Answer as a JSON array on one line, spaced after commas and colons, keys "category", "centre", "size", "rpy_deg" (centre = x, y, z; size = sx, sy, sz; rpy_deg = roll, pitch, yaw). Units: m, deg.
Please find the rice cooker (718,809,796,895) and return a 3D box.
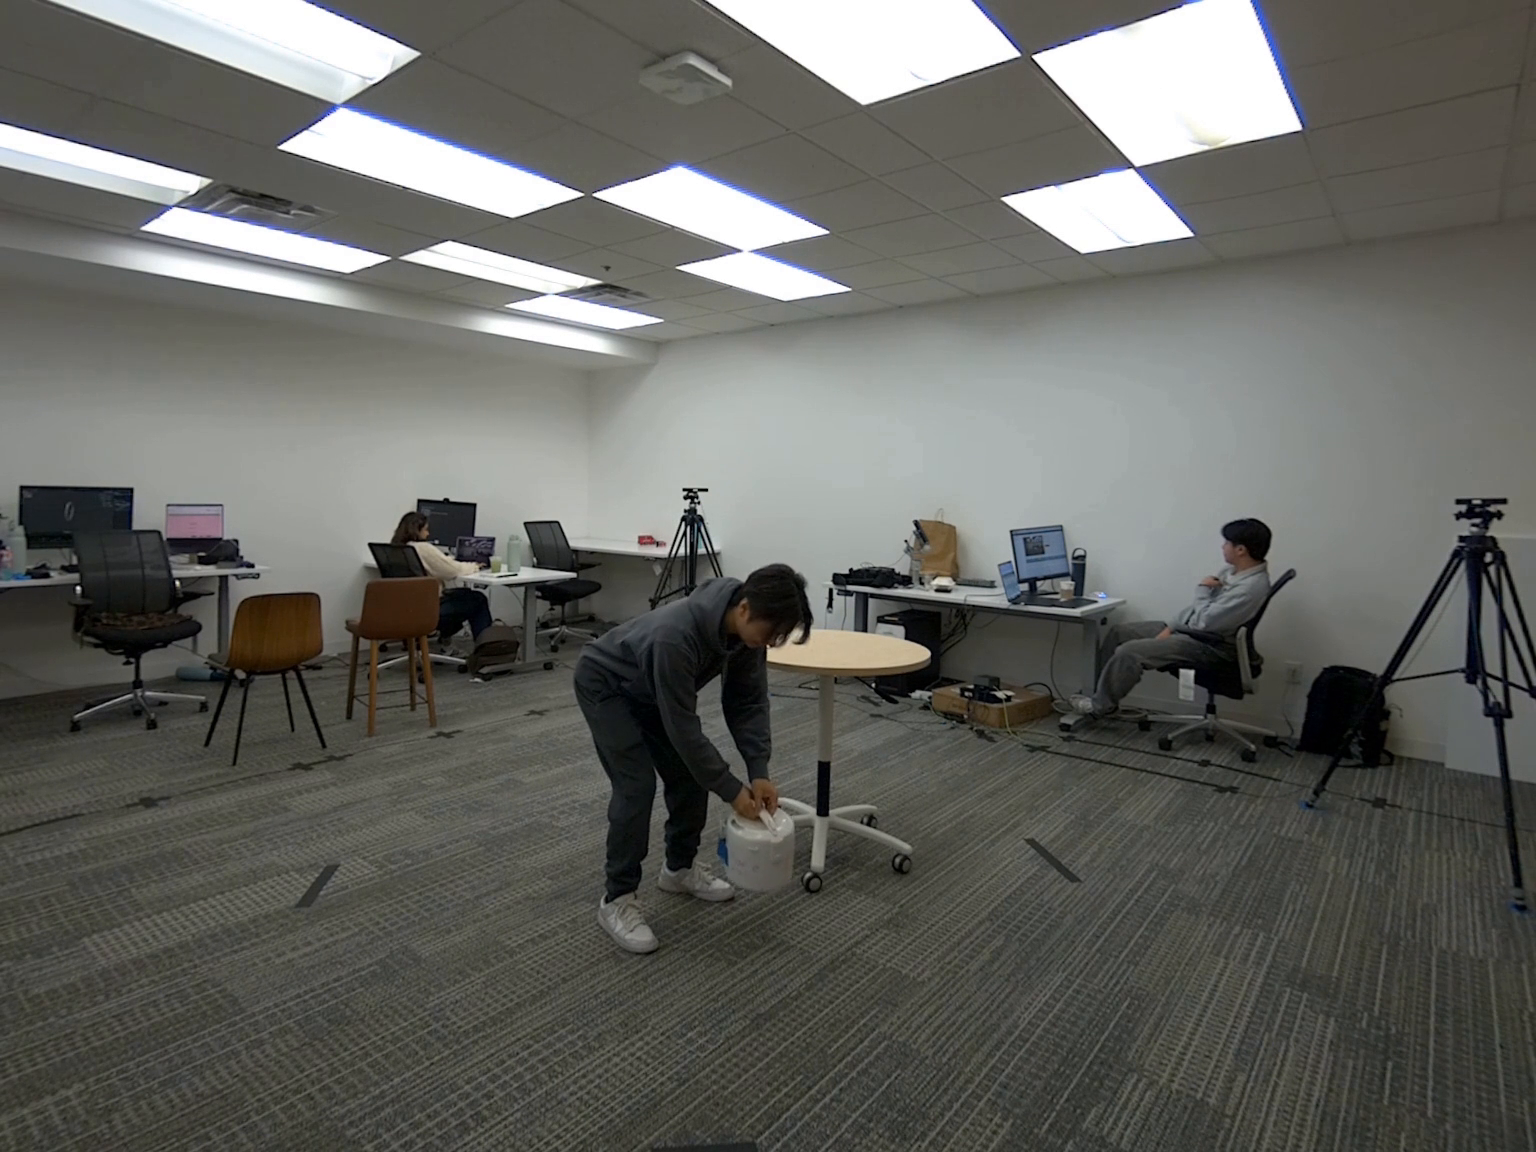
[{"category": "rice cooker", "centre": [-0.030, 0.821, 2.611], "size": [0.212, 0.230, 0.228], "rpy_deg": [-3, 14, -26]}]
